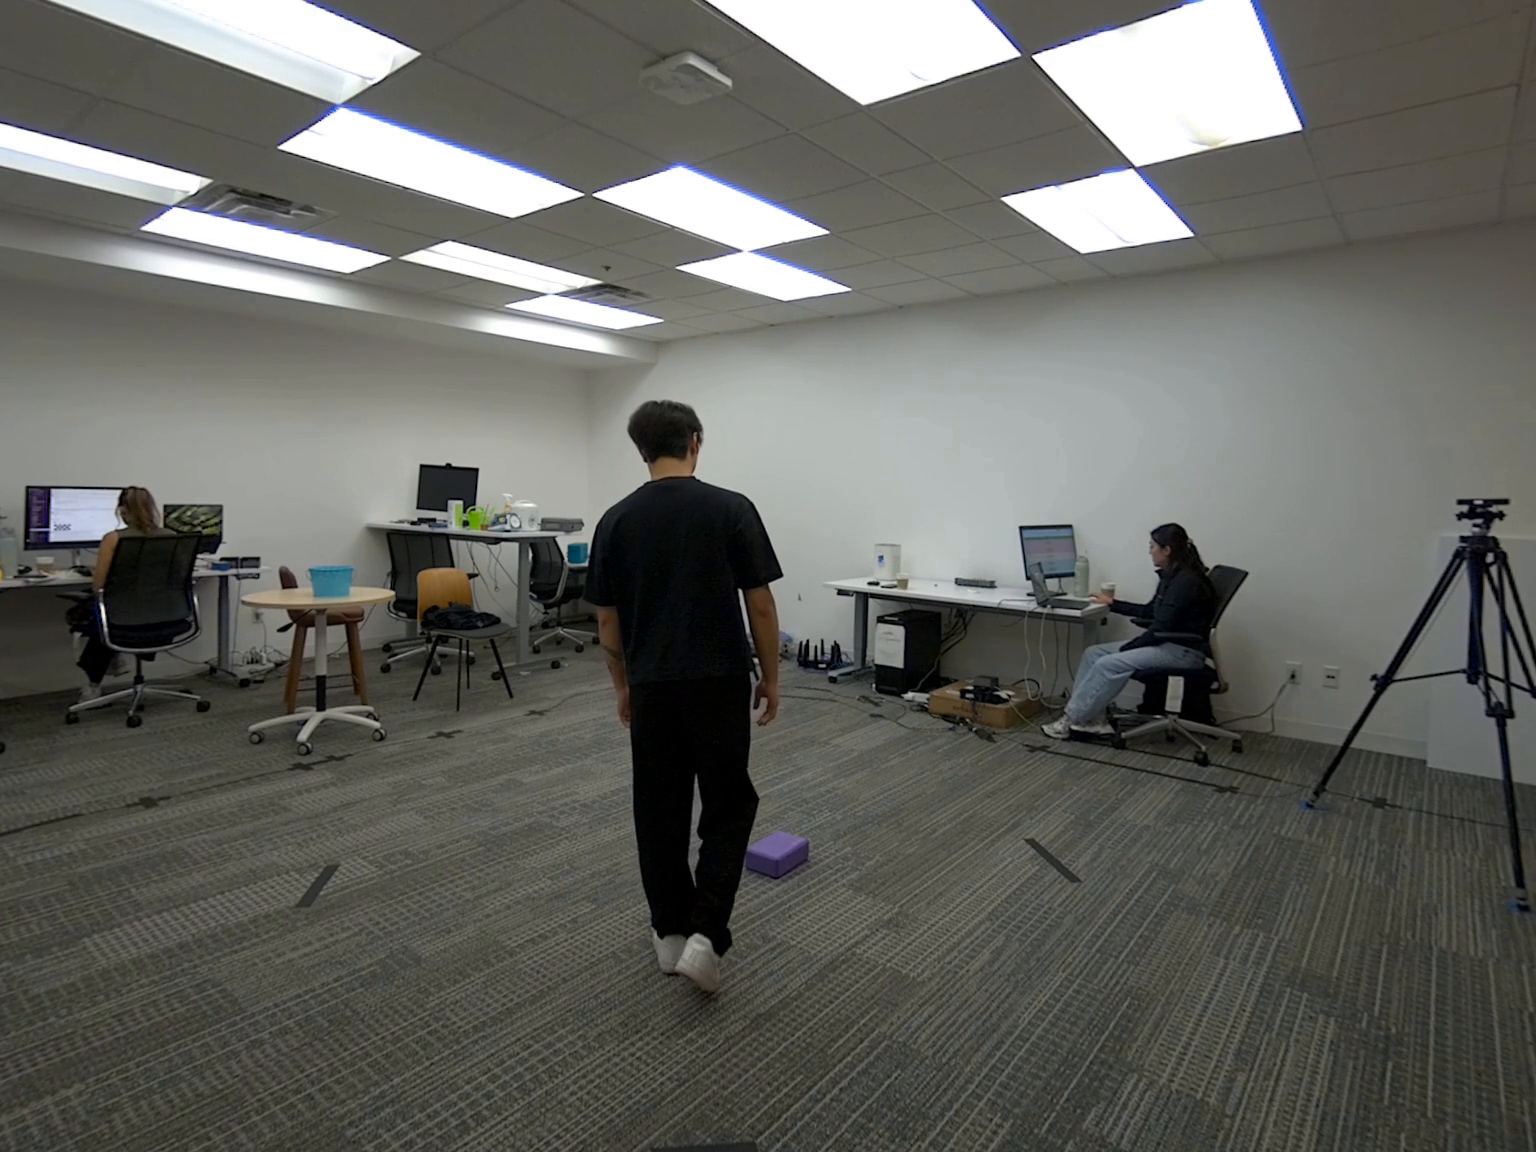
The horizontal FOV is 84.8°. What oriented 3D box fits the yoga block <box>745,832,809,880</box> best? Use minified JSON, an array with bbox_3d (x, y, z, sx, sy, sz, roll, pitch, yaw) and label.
[{"bbox_3d":[0.026,1.030,3.168,0.154,0.076,0.223,4,6,35],"label":"yoga block"}]
